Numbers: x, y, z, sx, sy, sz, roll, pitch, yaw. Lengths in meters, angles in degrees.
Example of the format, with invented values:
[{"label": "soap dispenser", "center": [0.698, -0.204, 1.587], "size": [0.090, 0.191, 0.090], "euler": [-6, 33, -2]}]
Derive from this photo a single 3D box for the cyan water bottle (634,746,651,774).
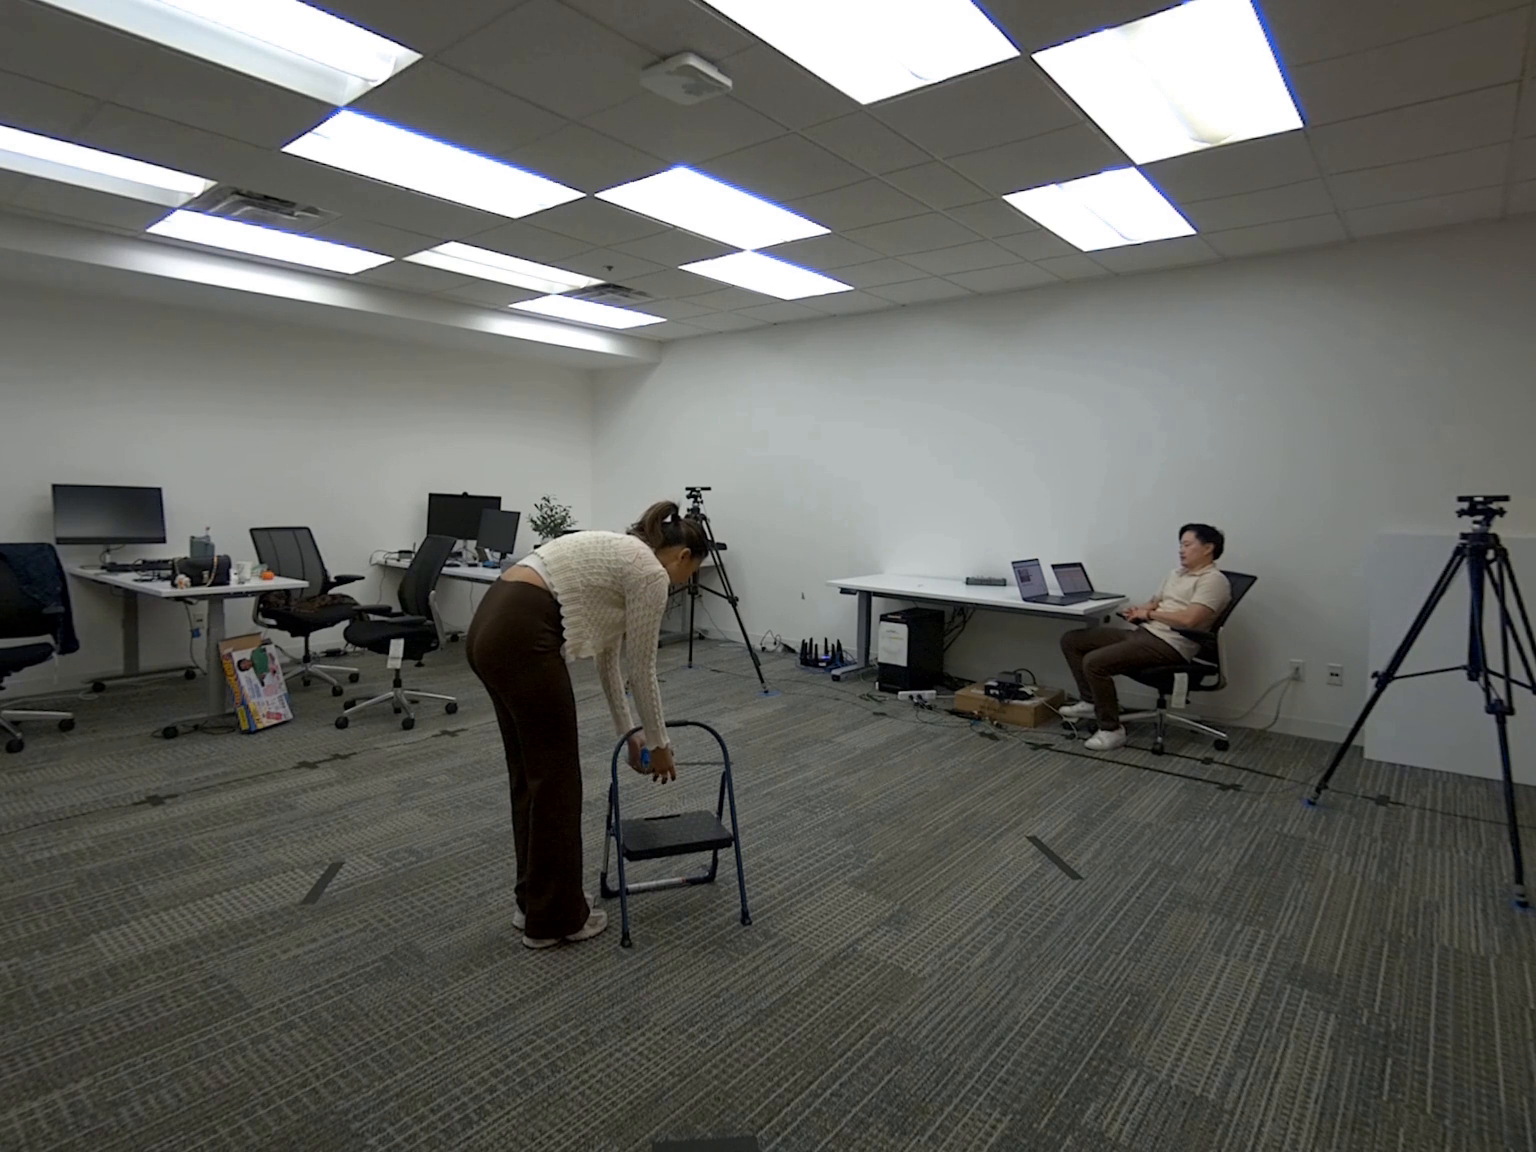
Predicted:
[{"label": "cyan water bottle", "center": [-0.432, 0.621, 2.927], "size": [0.090, 0.093, 0.288], "euler": [-1, -3, -22]}]
